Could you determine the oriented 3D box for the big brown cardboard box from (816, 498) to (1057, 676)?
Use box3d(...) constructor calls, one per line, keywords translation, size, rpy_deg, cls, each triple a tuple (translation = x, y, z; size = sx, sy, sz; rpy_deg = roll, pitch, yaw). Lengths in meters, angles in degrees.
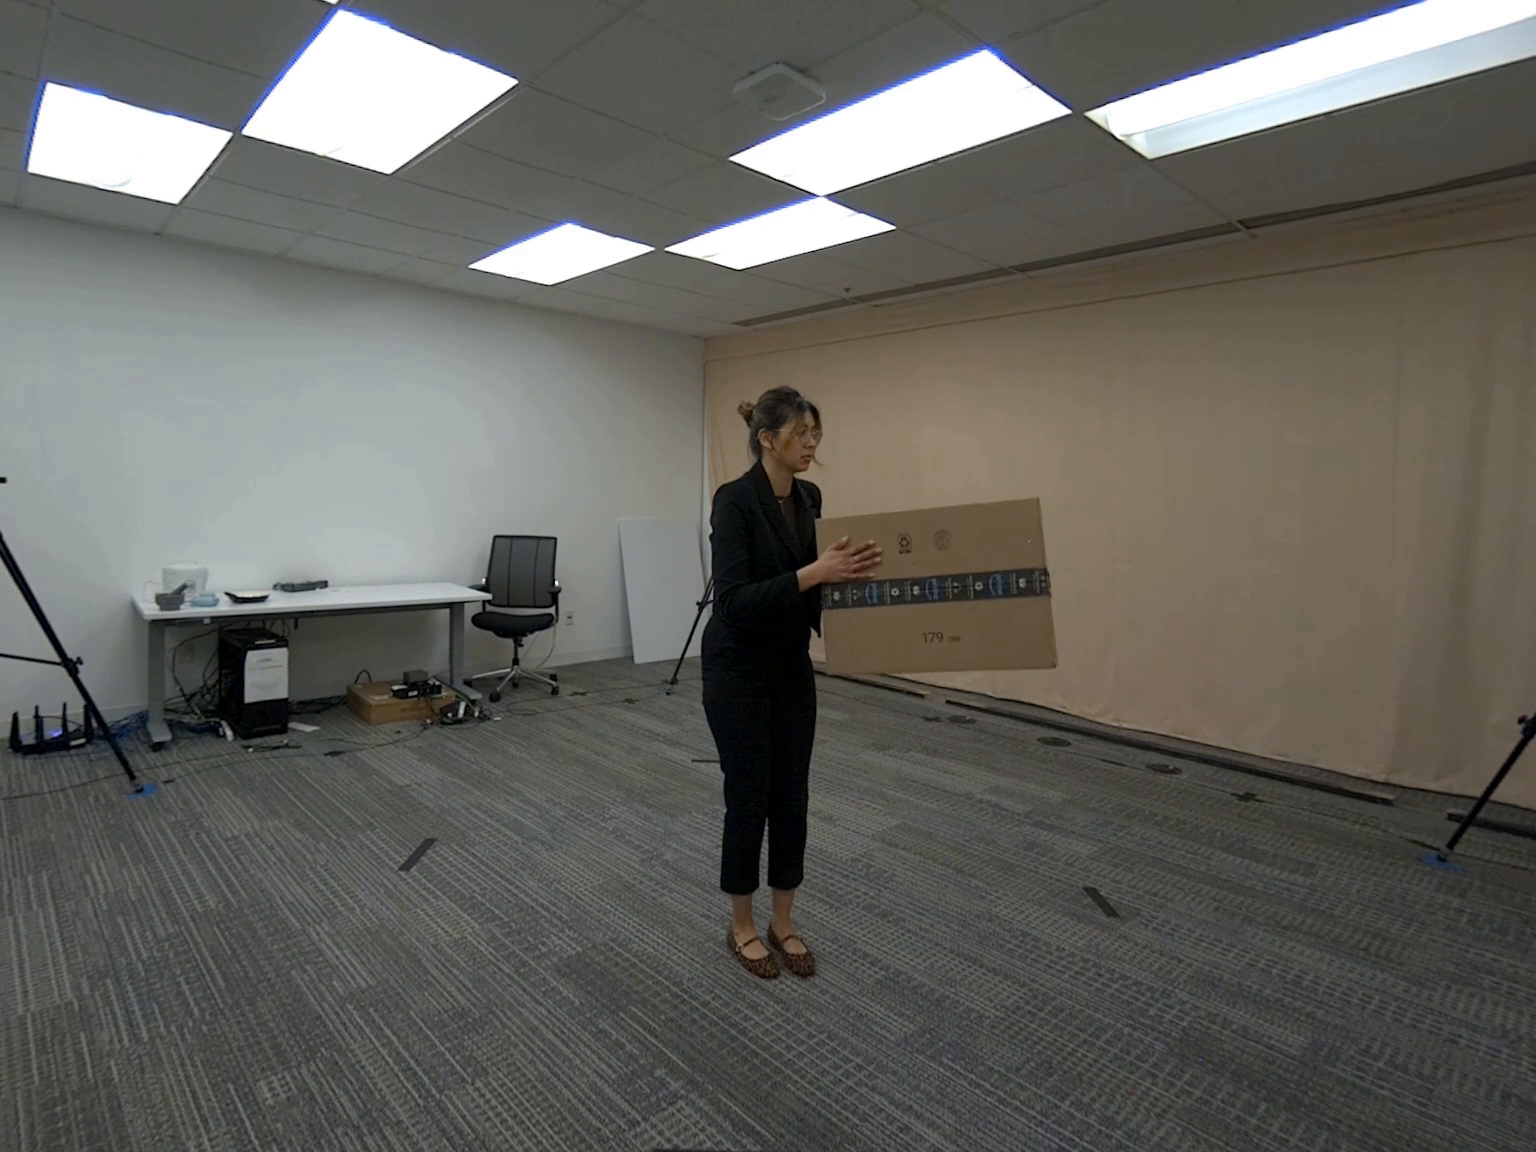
box3d(translation=(0.439, 0.047, 2.210), size=(0.597, 0.419, 0.229), rpy_deg=(-4, -5, 20), cls="big brown cardboard box")
